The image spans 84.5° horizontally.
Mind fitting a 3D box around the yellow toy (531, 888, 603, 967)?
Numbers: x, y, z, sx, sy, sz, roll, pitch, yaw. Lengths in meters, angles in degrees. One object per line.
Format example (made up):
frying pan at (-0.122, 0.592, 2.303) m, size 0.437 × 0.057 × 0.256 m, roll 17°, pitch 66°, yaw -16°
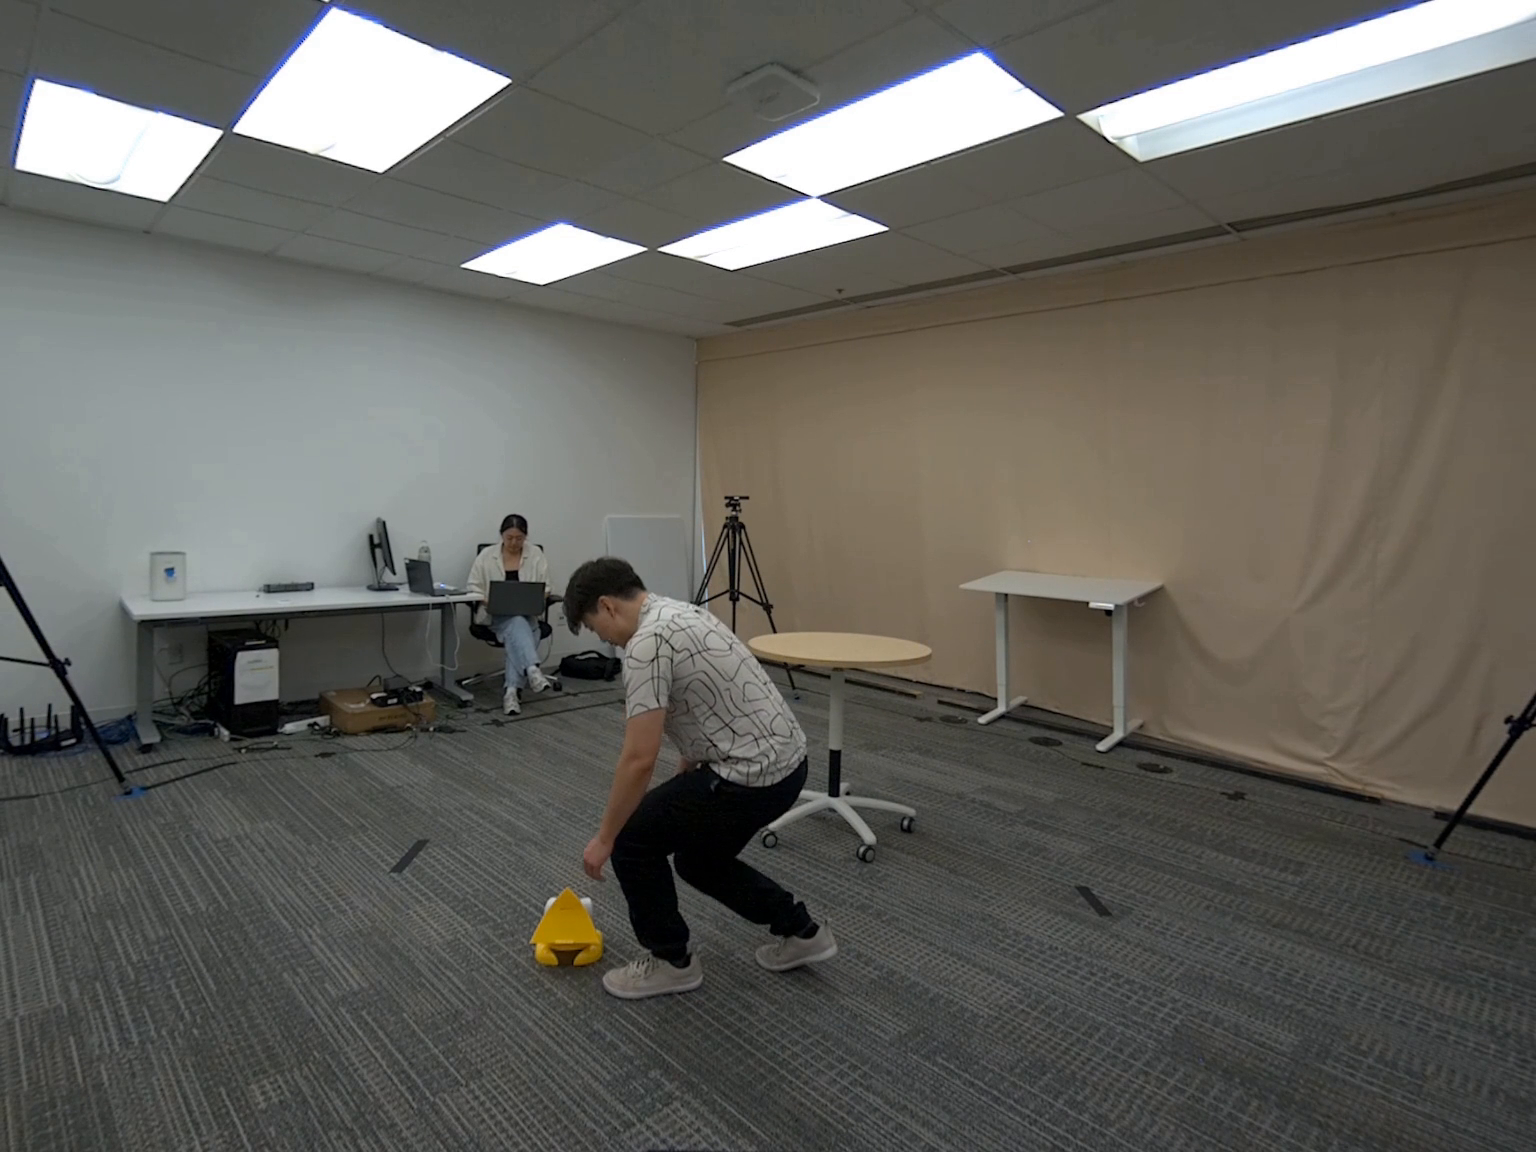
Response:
yellow toy at (-0.605, 1.029, 2.550) m, size 0.204 × 0.230 × 0.194 m, roll 2°, pitch 5°, yaw -3°
